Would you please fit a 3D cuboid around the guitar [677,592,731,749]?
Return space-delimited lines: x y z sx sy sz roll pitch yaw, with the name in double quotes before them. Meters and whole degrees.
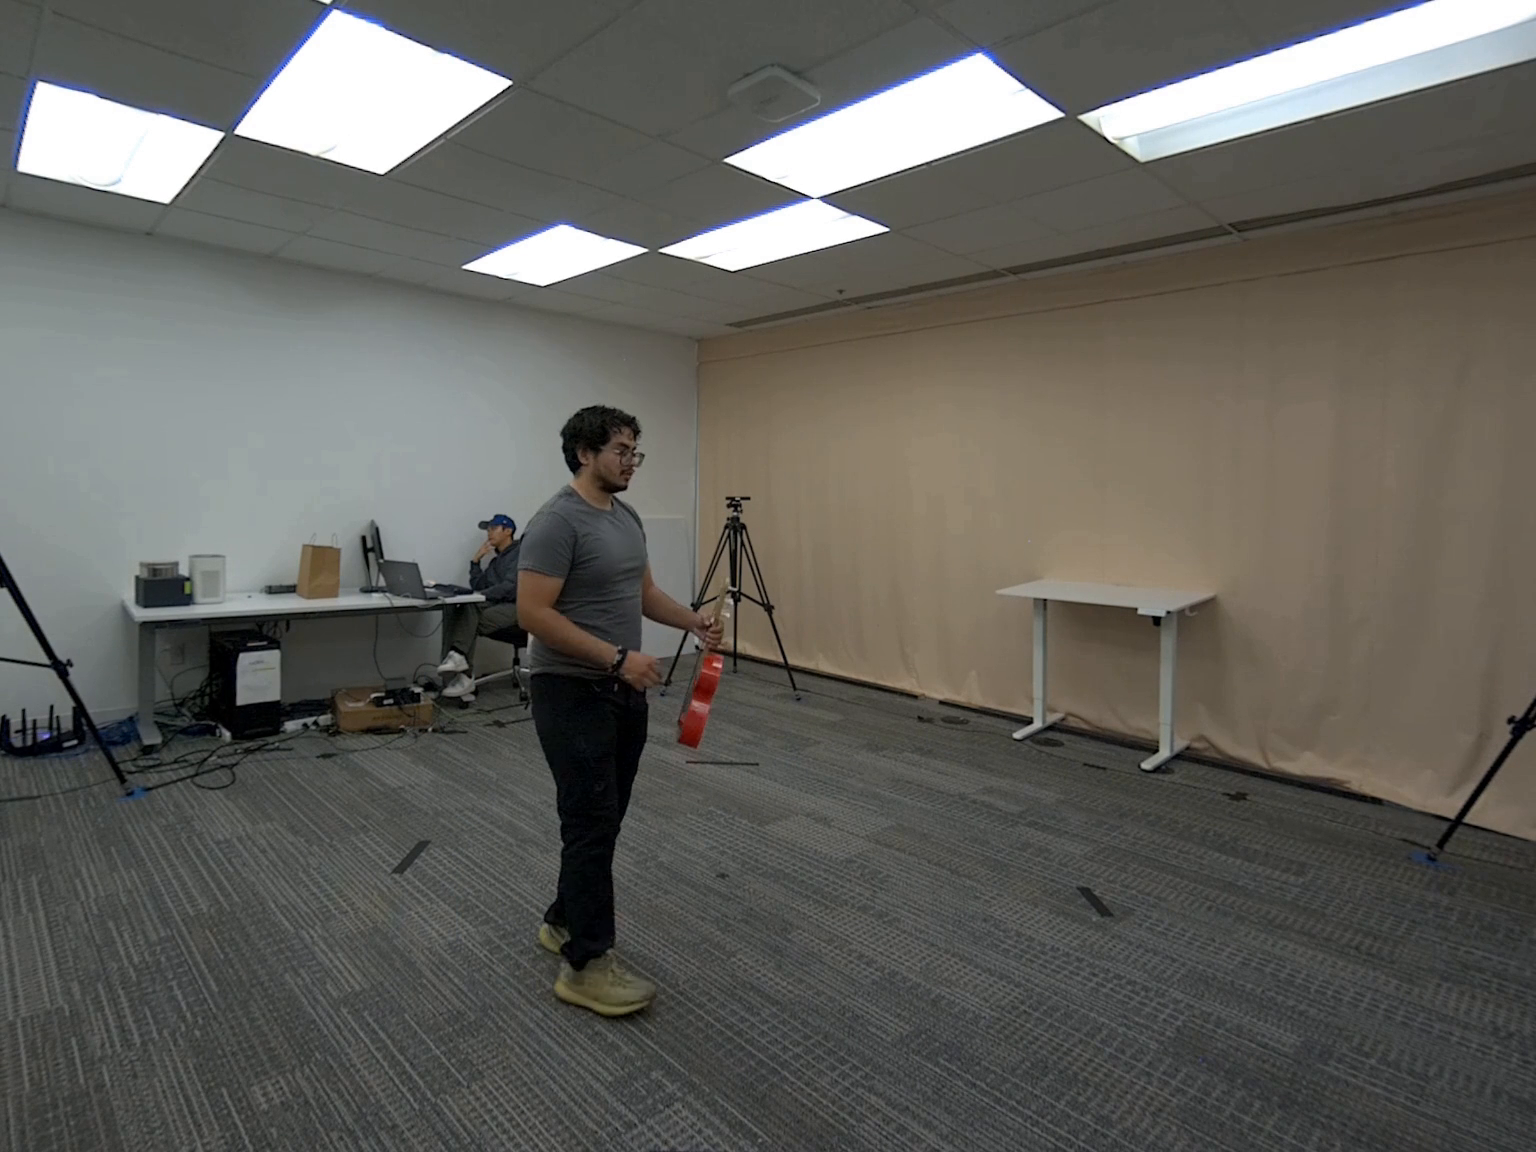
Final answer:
"guitar" -0.184 0.269 2.424 0.070 0.493 0.195 16 19 -5
